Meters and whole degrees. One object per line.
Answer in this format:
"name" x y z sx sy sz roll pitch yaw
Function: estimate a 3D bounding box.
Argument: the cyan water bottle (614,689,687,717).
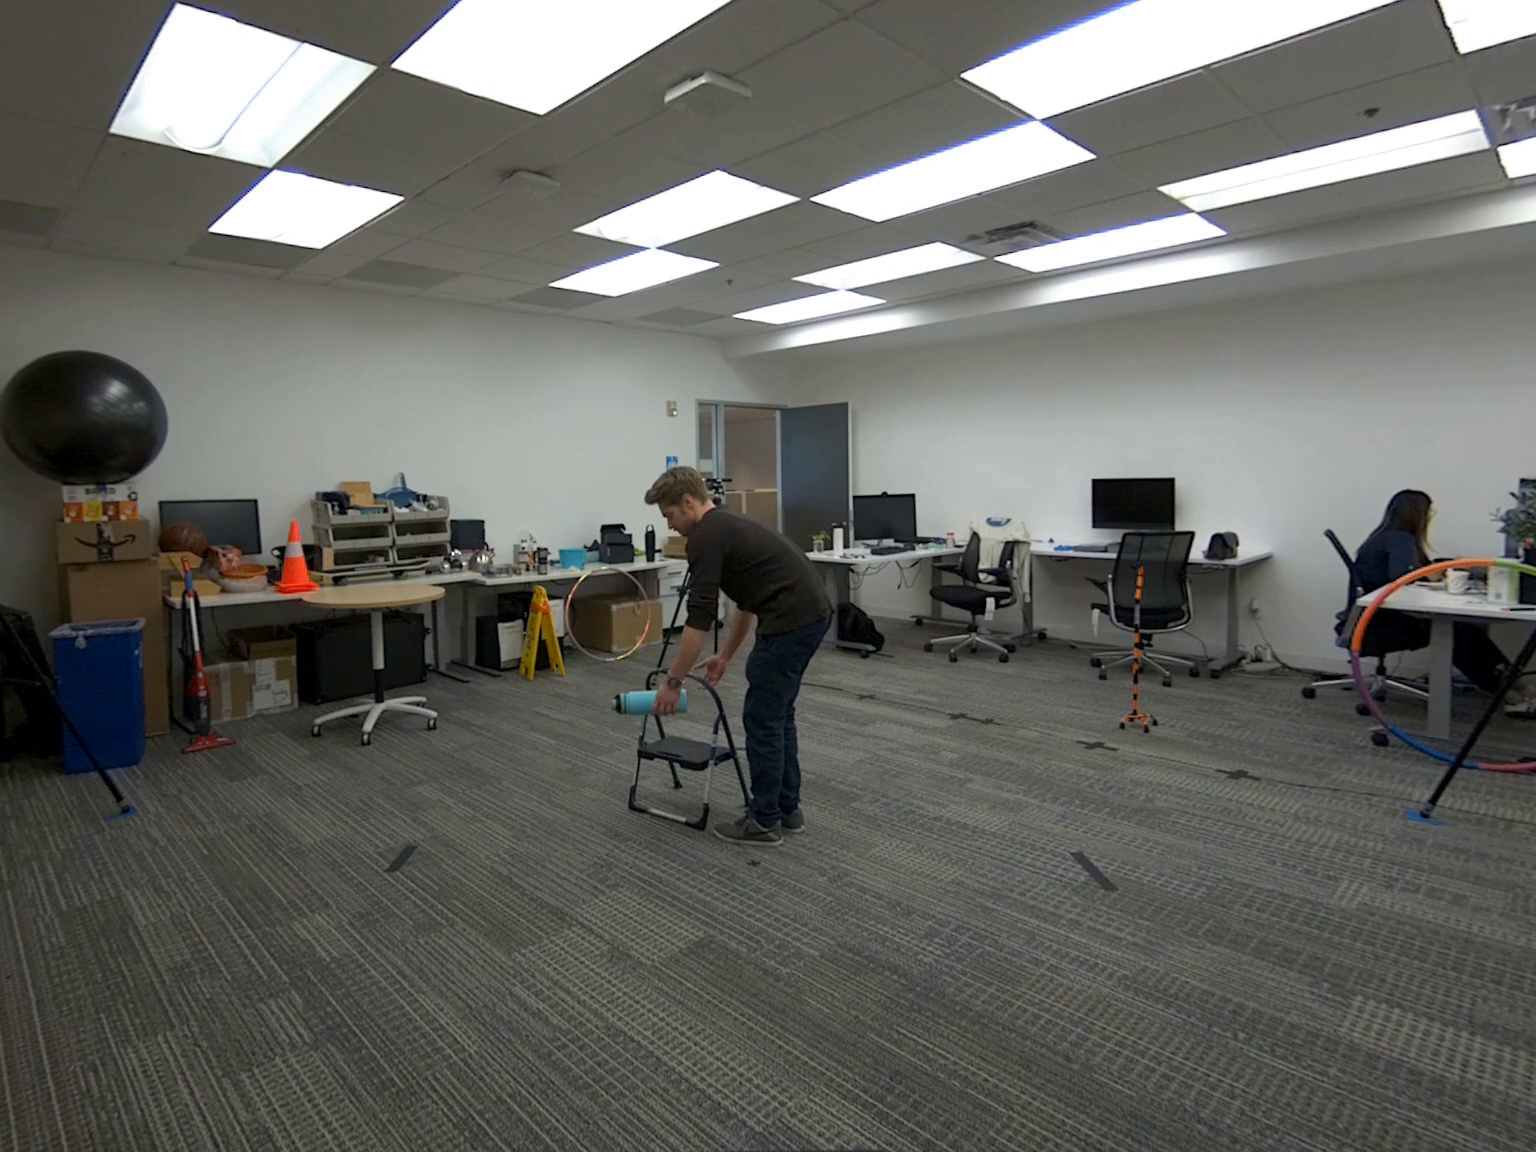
"cyan water bottle" -0.449 0.479 3.269 0.282 0.092 0.093 -1 5 -4
